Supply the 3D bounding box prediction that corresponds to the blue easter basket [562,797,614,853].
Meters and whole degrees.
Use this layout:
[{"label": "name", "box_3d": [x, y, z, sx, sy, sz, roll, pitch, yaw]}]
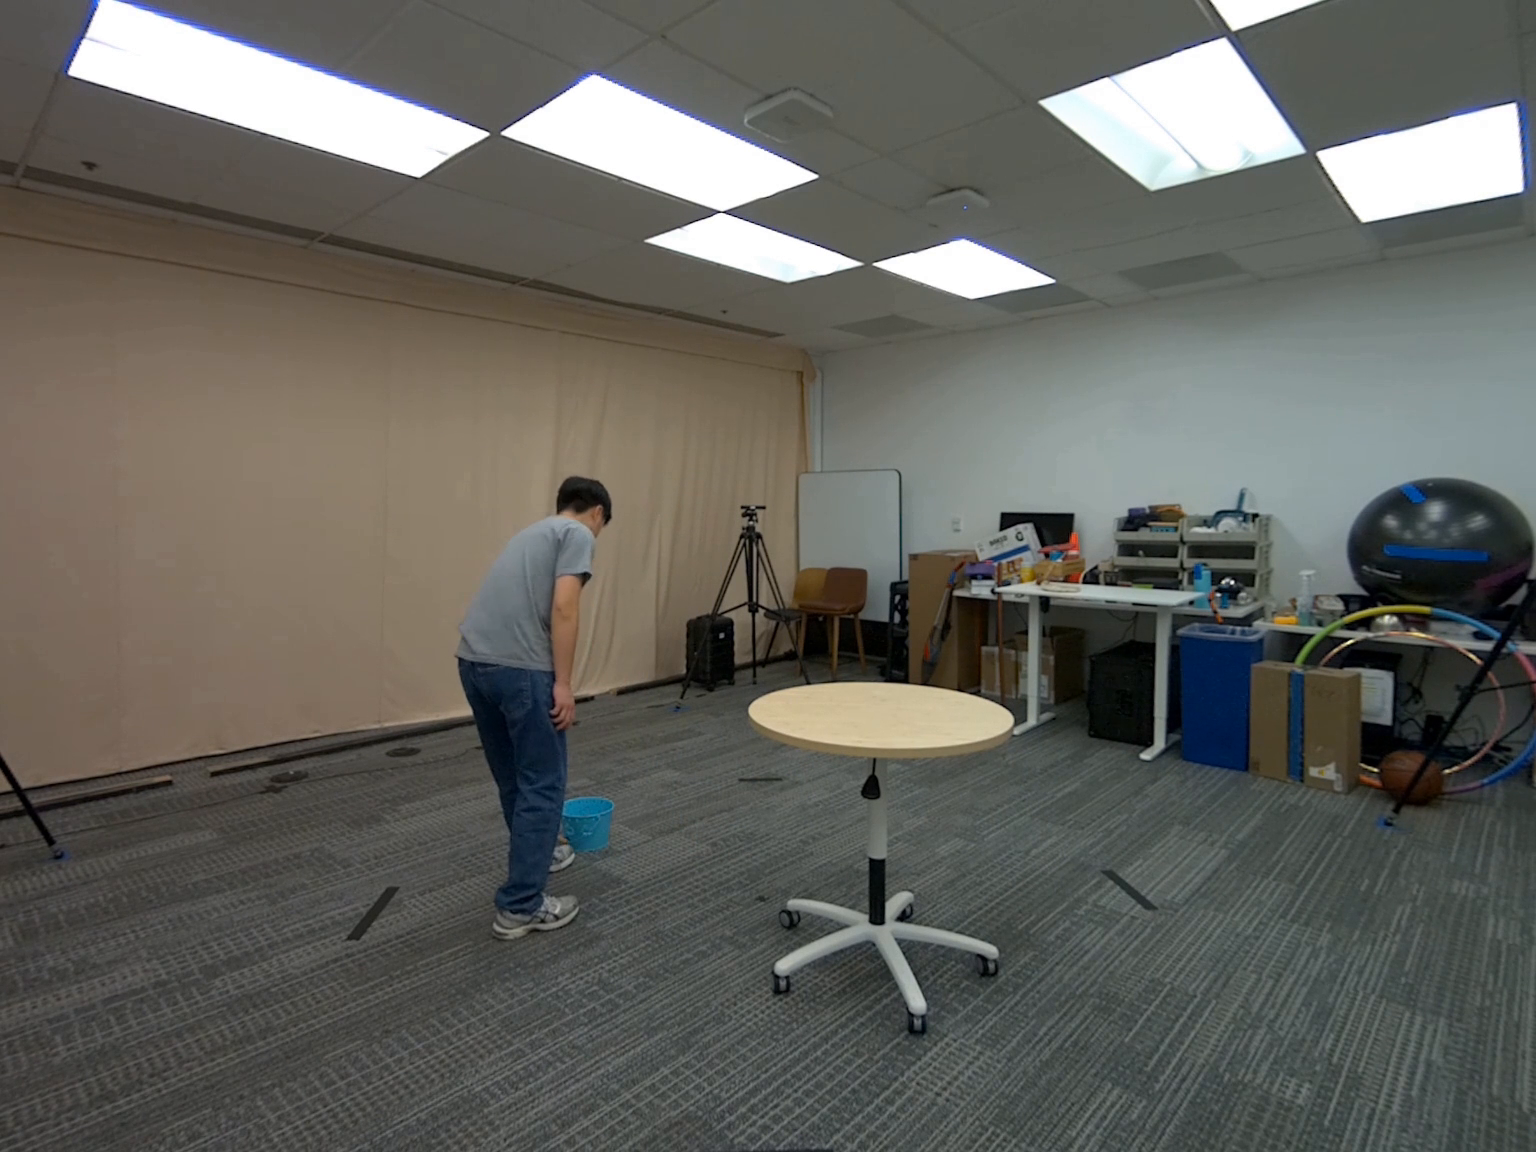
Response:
[{"label": "blue easter basket", "box_3d": [-0.755, 1.029, 3.492, 0.243, 0.155, 0.244, 0, 4, -2]}]
